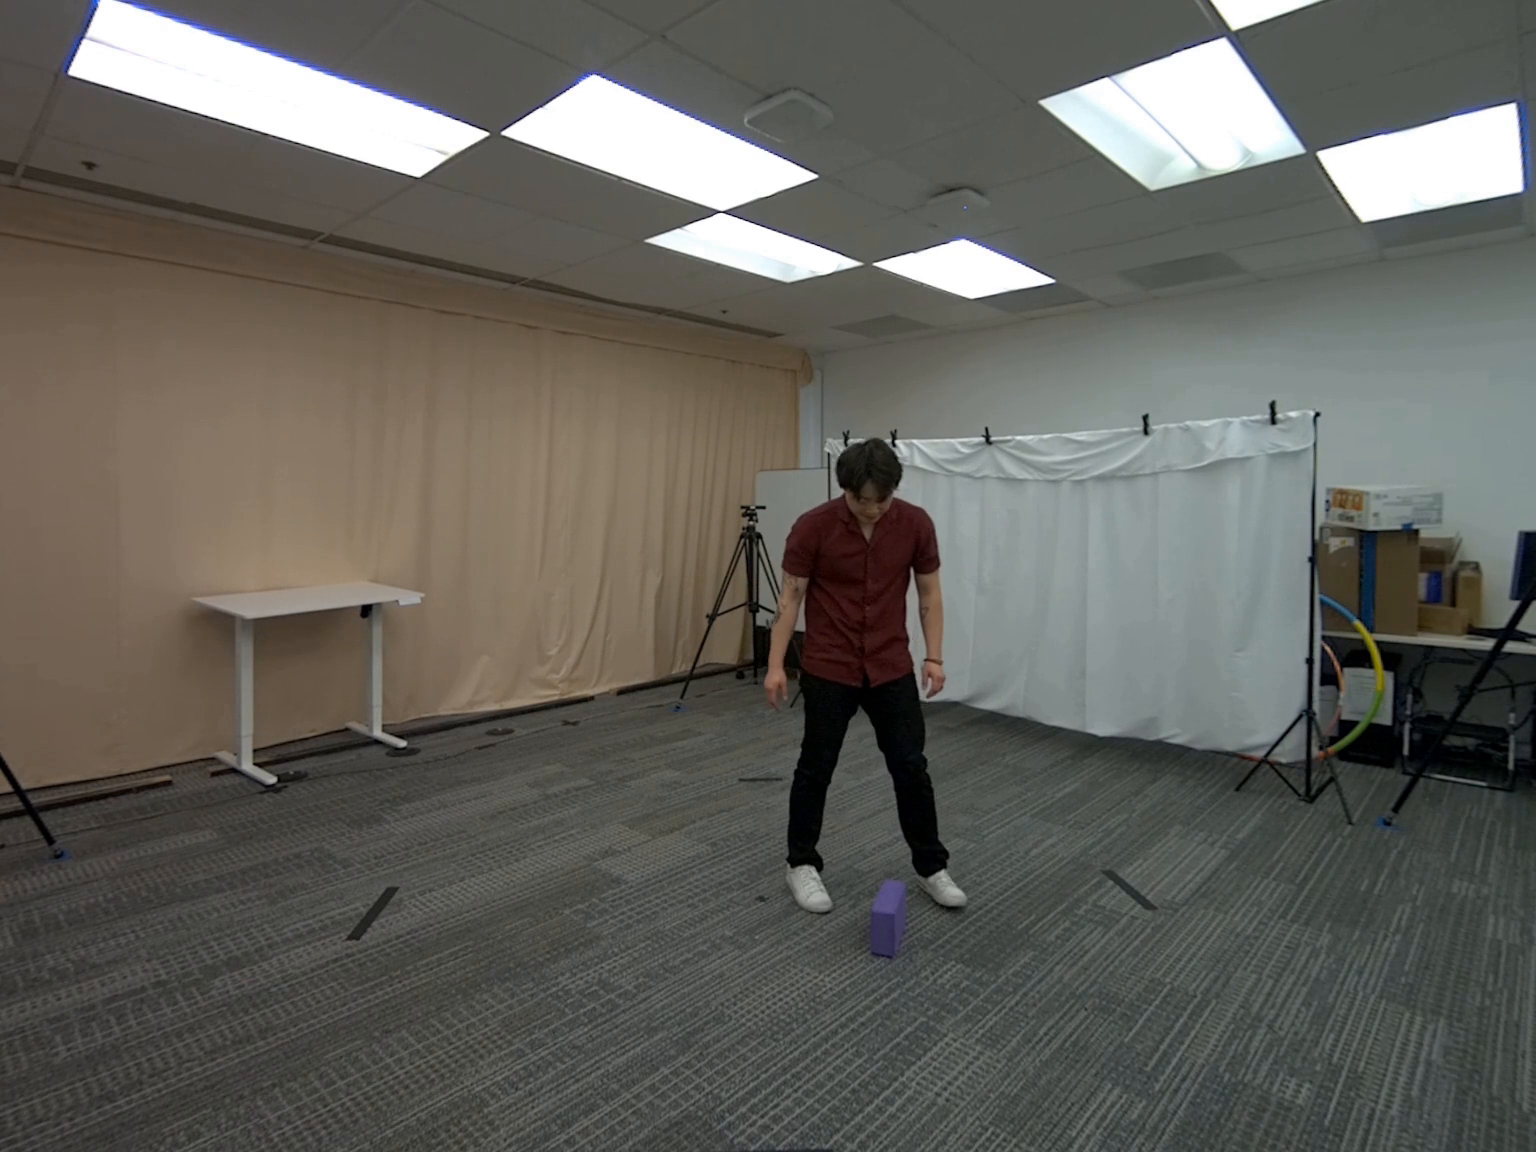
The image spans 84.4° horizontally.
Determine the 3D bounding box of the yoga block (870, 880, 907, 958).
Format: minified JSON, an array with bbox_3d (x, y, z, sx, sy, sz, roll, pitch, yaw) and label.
[{"bbox_3d":[0.392,1.089,2.692,0.078,0.148,0.225,2,5,19],"label":"yoga block"}]
